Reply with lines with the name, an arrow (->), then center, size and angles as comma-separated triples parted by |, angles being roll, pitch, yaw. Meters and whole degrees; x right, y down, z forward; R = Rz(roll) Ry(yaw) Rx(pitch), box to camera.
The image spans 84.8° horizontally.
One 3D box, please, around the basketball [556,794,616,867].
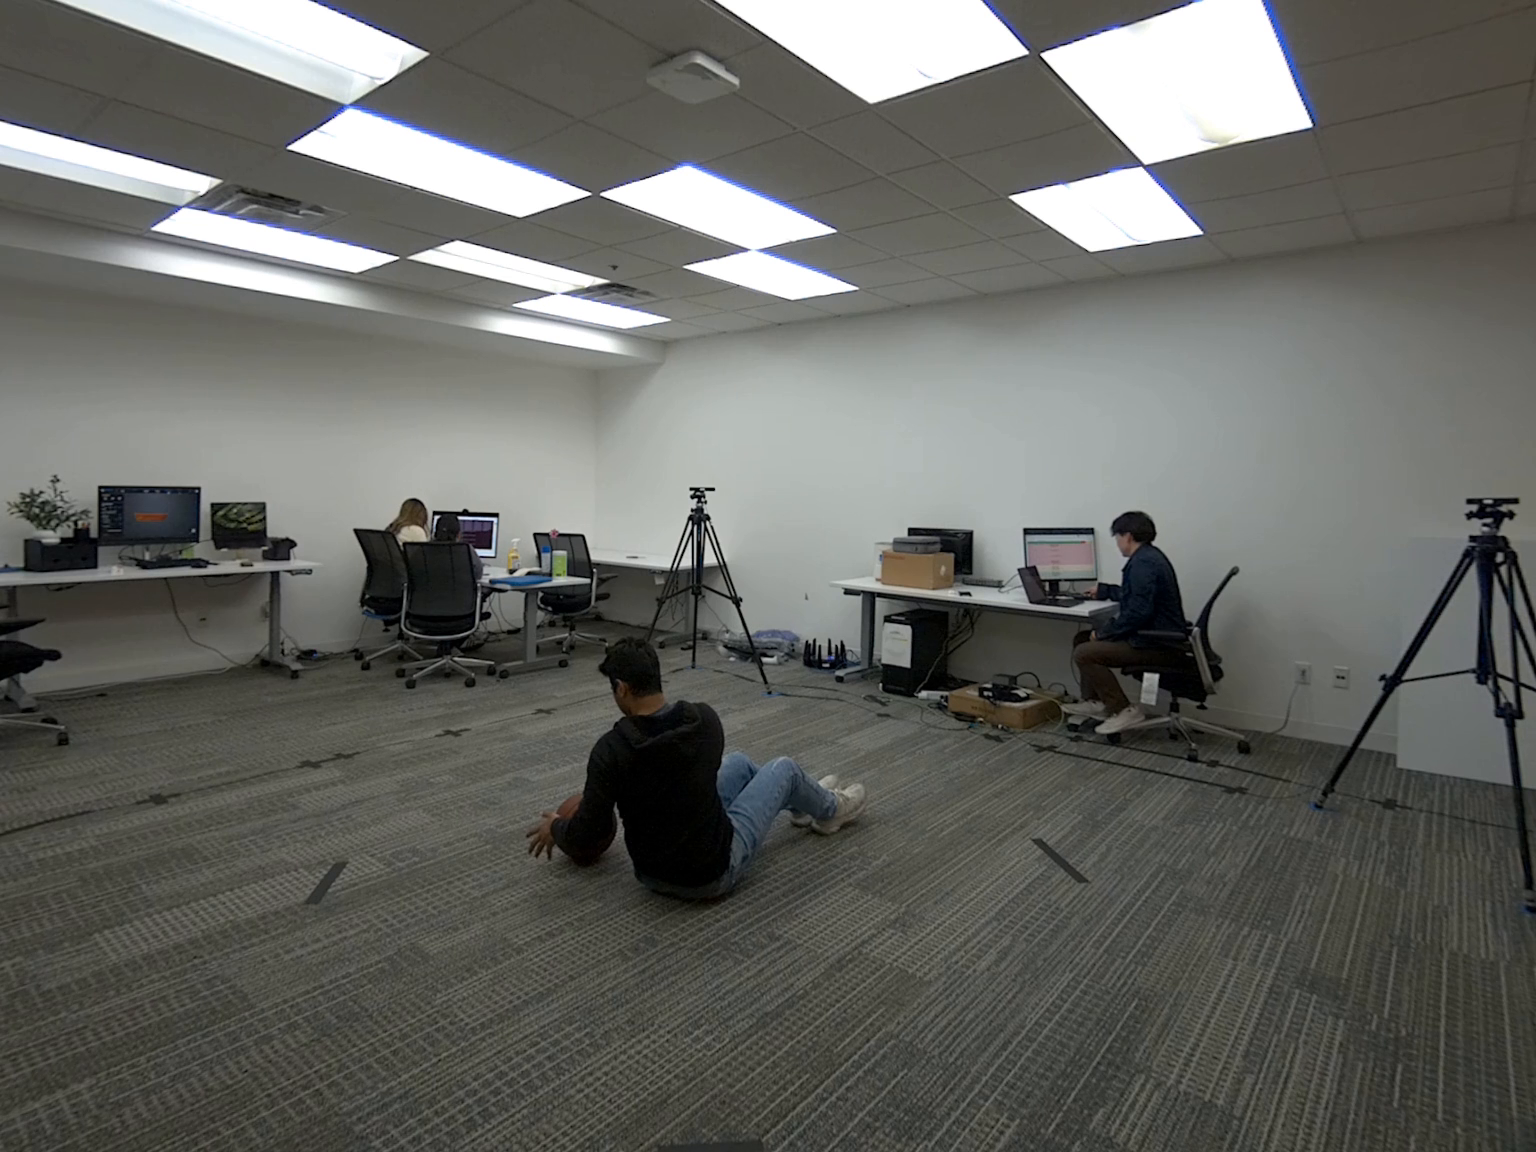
basketball -> -0.691, 0.928, 3.174 | 0.235, 0.235, 0.237 | 1, 4, -2
